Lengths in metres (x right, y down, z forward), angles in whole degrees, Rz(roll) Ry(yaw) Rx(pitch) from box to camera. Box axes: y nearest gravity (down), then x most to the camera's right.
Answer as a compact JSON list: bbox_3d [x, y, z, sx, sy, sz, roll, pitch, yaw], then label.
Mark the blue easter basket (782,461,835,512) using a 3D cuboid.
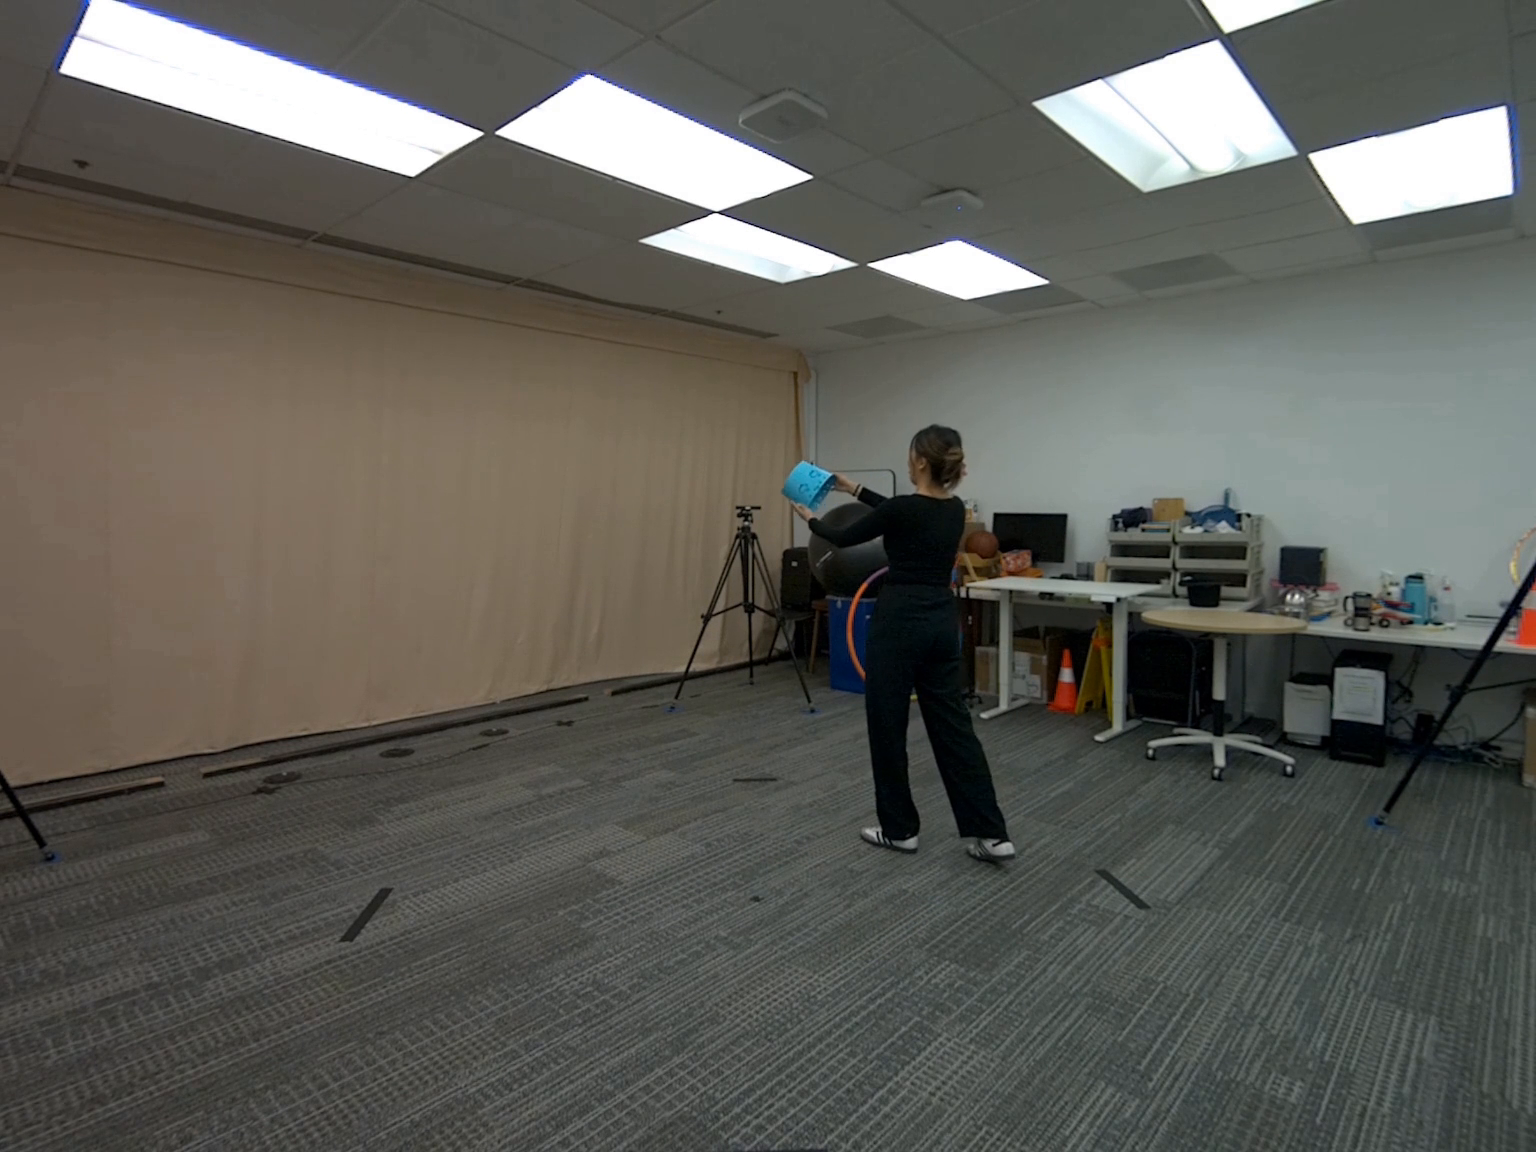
[{"bbox_3d":[0.183,-0.399,3.804,0.158,0.243,0.239,35,13,12],"label":"blue easter basket"}]
